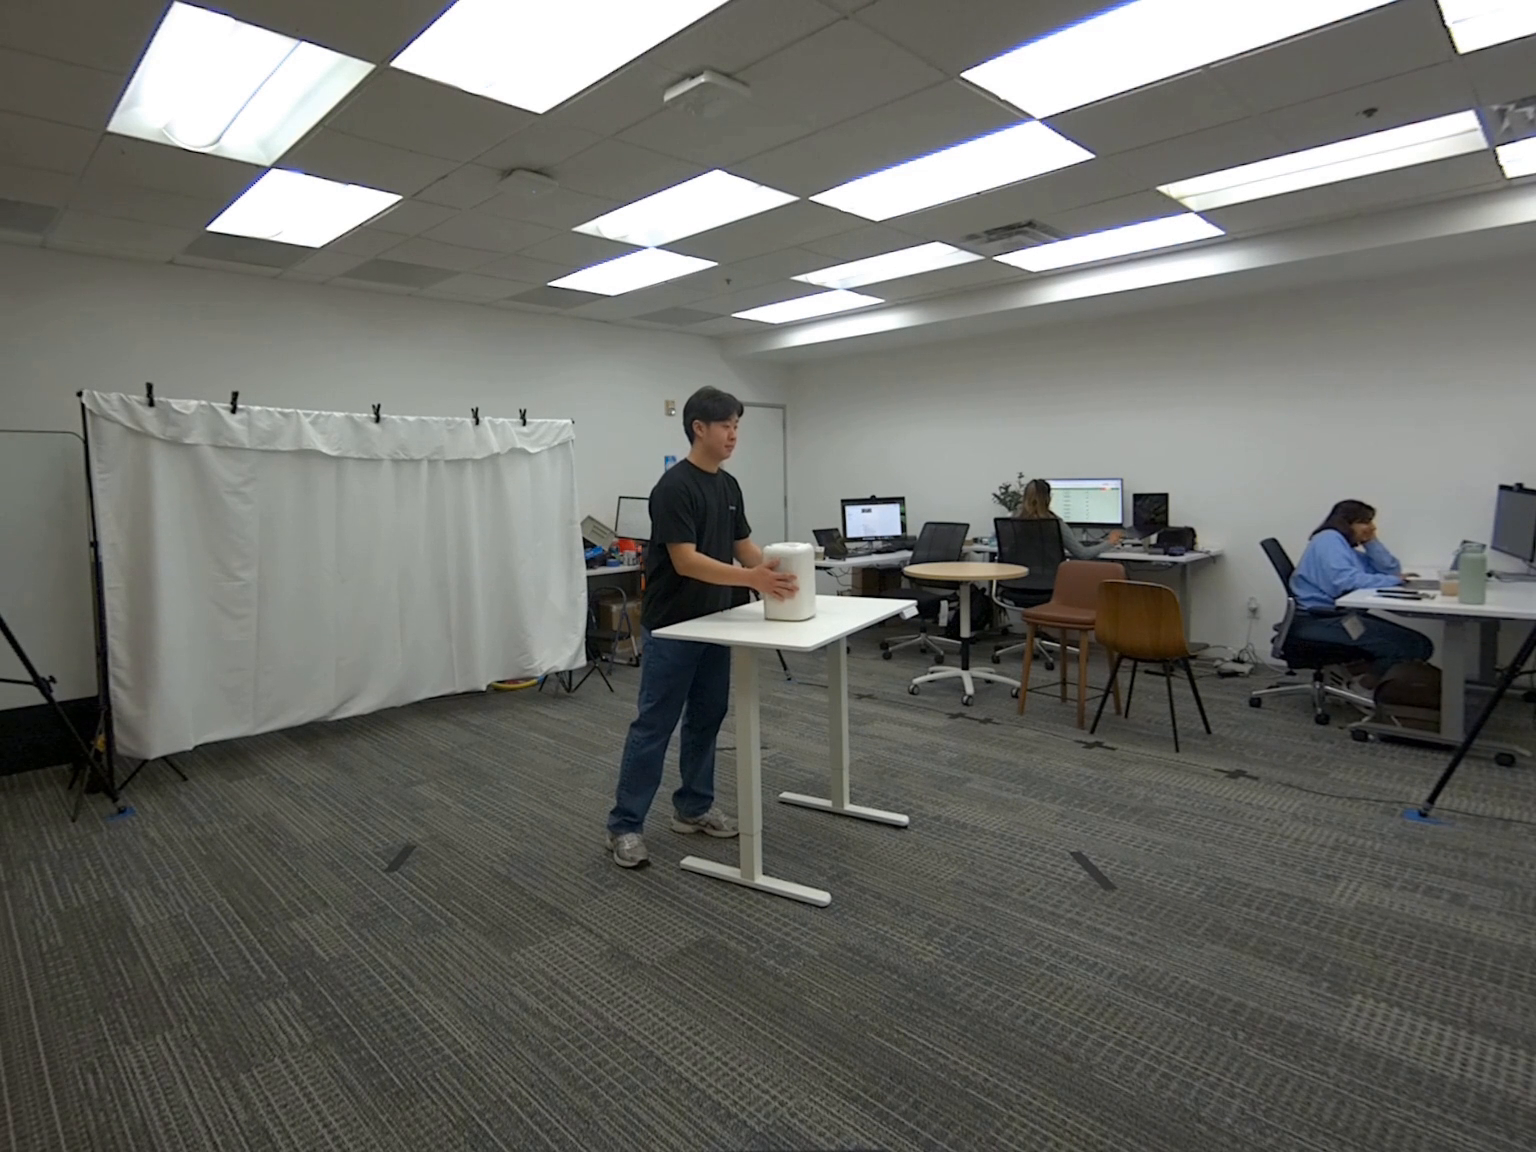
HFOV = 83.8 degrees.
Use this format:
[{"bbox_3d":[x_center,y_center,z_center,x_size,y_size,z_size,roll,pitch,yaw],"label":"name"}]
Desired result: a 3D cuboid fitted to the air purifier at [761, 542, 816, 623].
[{"bbox_3d":[0.075,0.014,3.116,0.175,0.264,0.168,0,6,26],"label":"air purifier"}]
